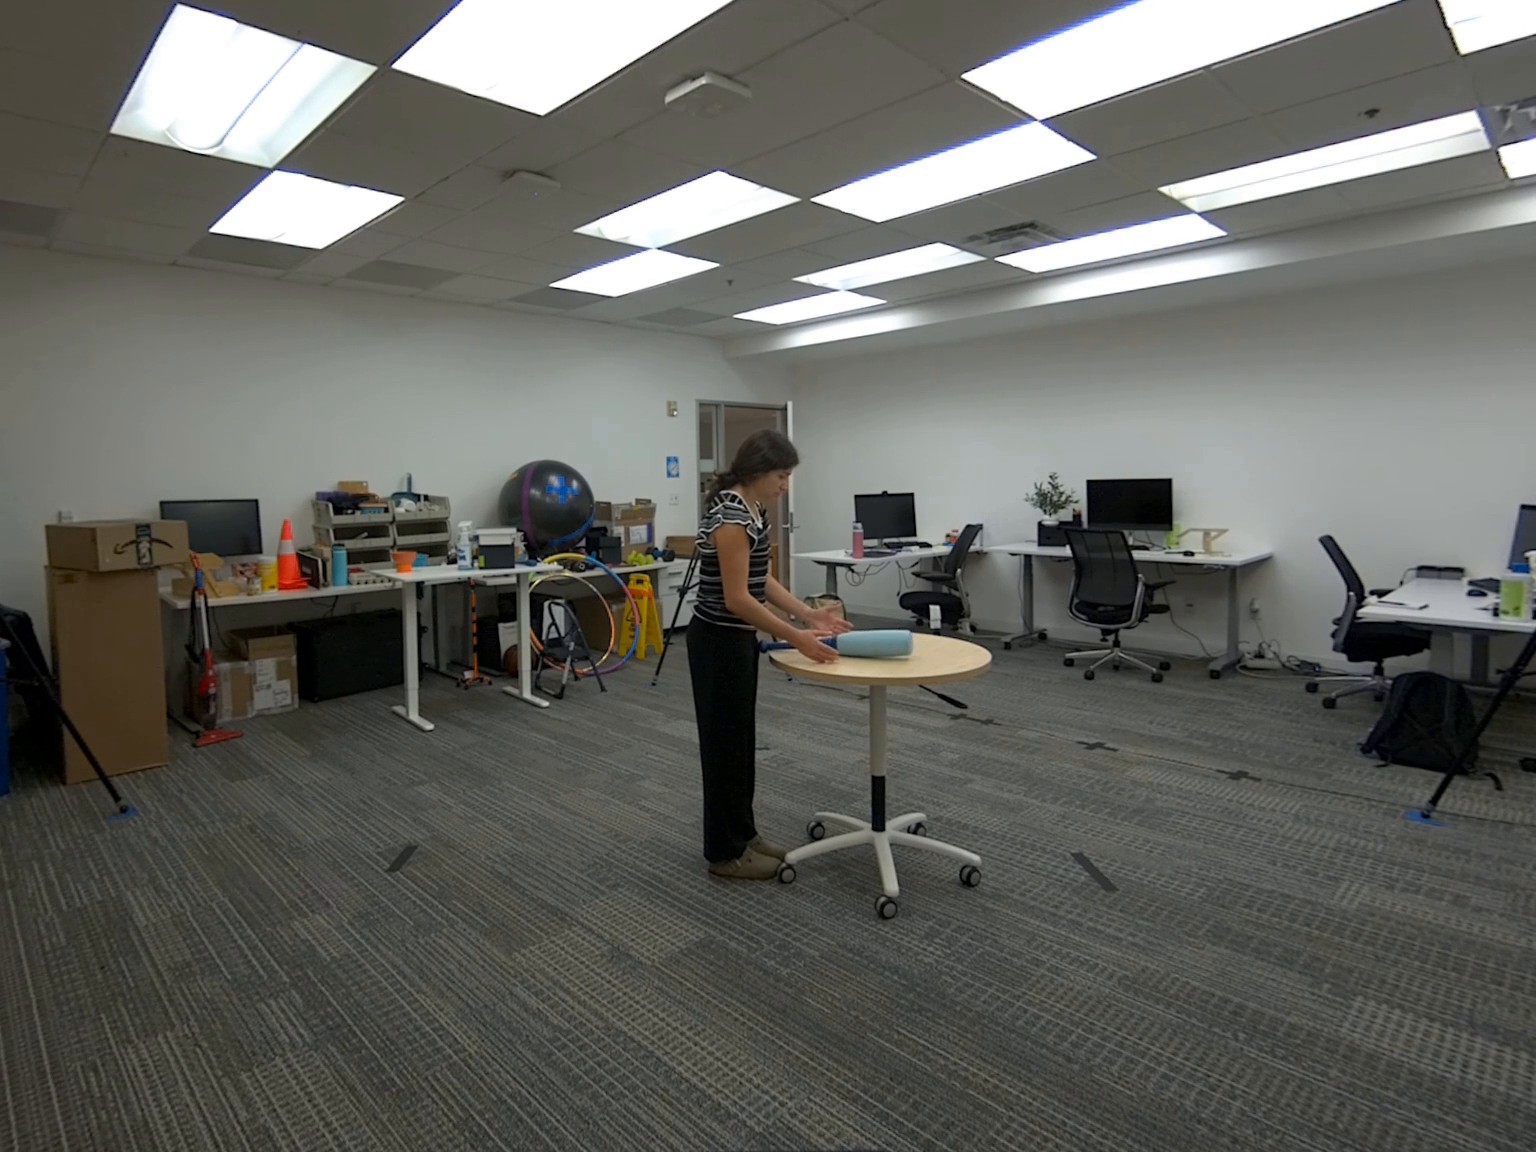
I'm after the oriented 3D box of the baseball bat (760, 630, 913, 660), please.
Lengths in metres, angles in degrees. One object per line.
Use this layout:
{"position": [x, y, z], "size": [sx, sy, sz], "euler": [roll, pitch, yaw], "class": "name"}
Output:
{"position": [0.221, 0.239, 2.957], "size": [0.552, 0.089, 0.088], "euler": [-4, 4, 19], "class": "baseball bat"}
